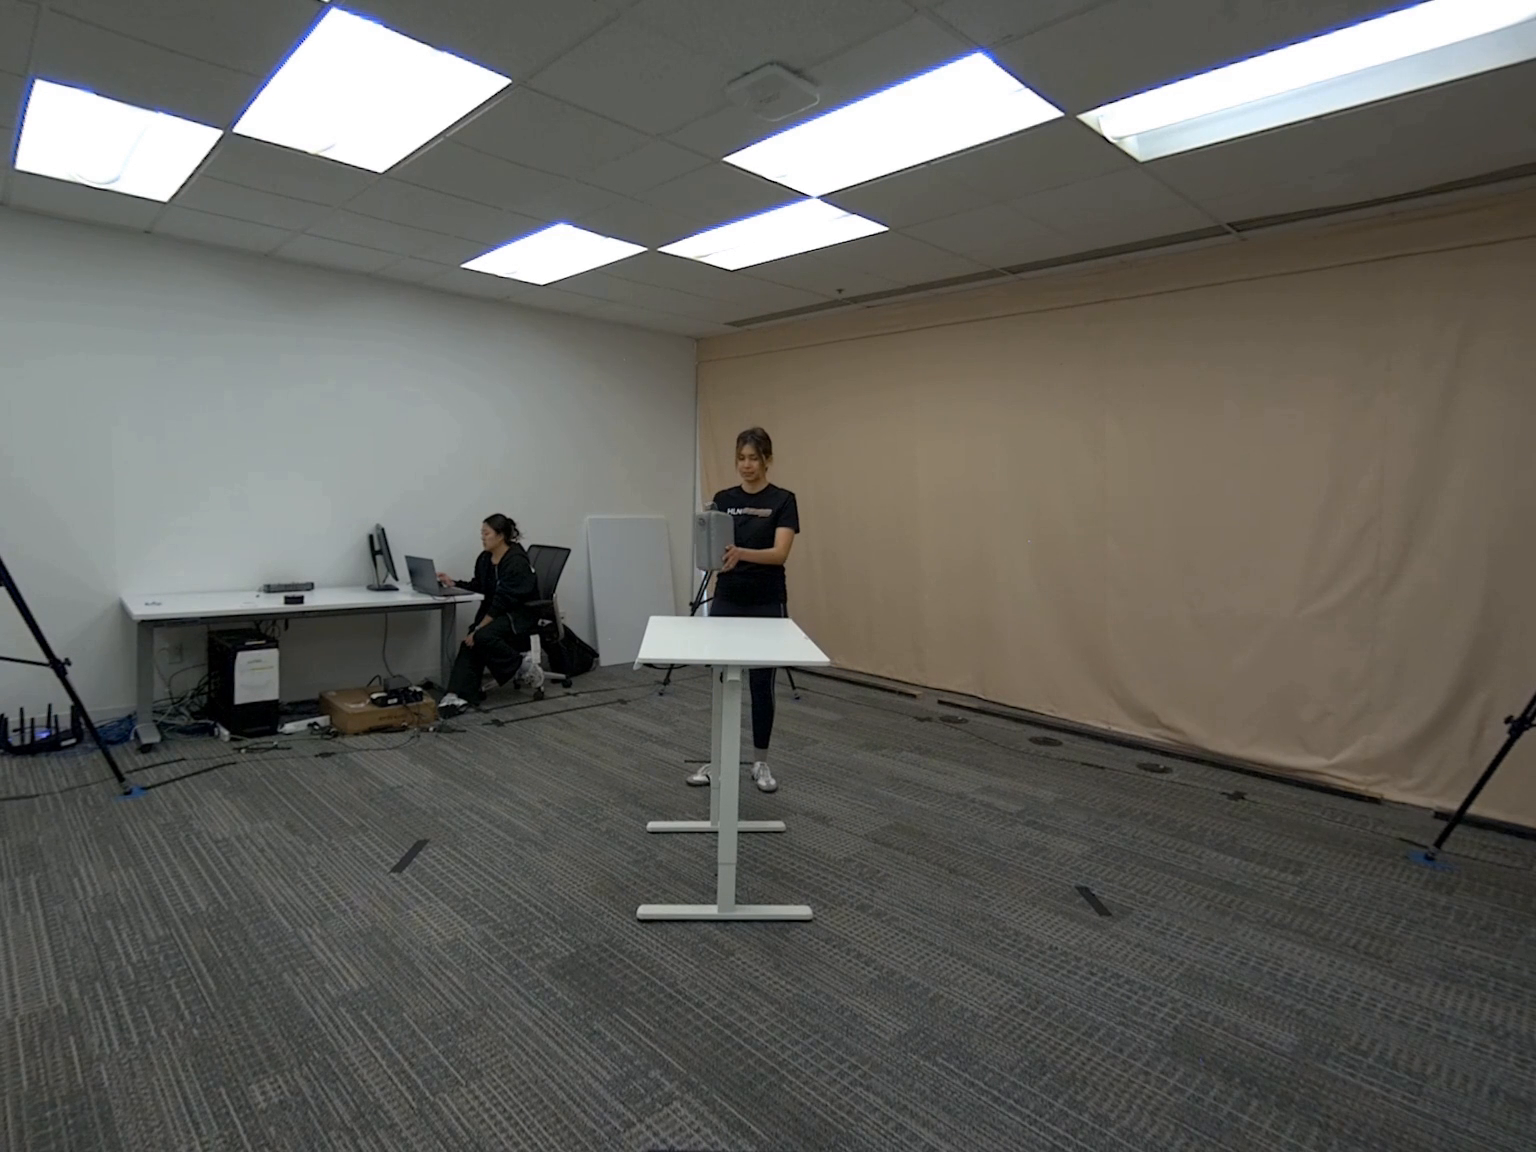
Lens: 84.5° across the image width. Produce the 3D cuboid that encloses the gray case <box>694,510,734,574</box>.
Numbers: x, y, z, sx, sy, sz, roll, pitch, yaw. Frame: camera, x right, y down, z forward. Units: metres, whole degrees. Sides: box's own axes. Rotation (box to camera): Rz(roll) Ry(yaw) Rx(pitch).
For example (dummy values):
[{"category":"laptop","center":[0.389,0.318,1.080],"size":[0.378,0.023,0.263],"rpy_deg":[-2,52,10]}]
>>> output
[{"category":"gray case","center":[-0.249,-0.158,3.684],"size":[0.106,0.261,0.253],"rpy_deg":[-1,-2,18]}]
